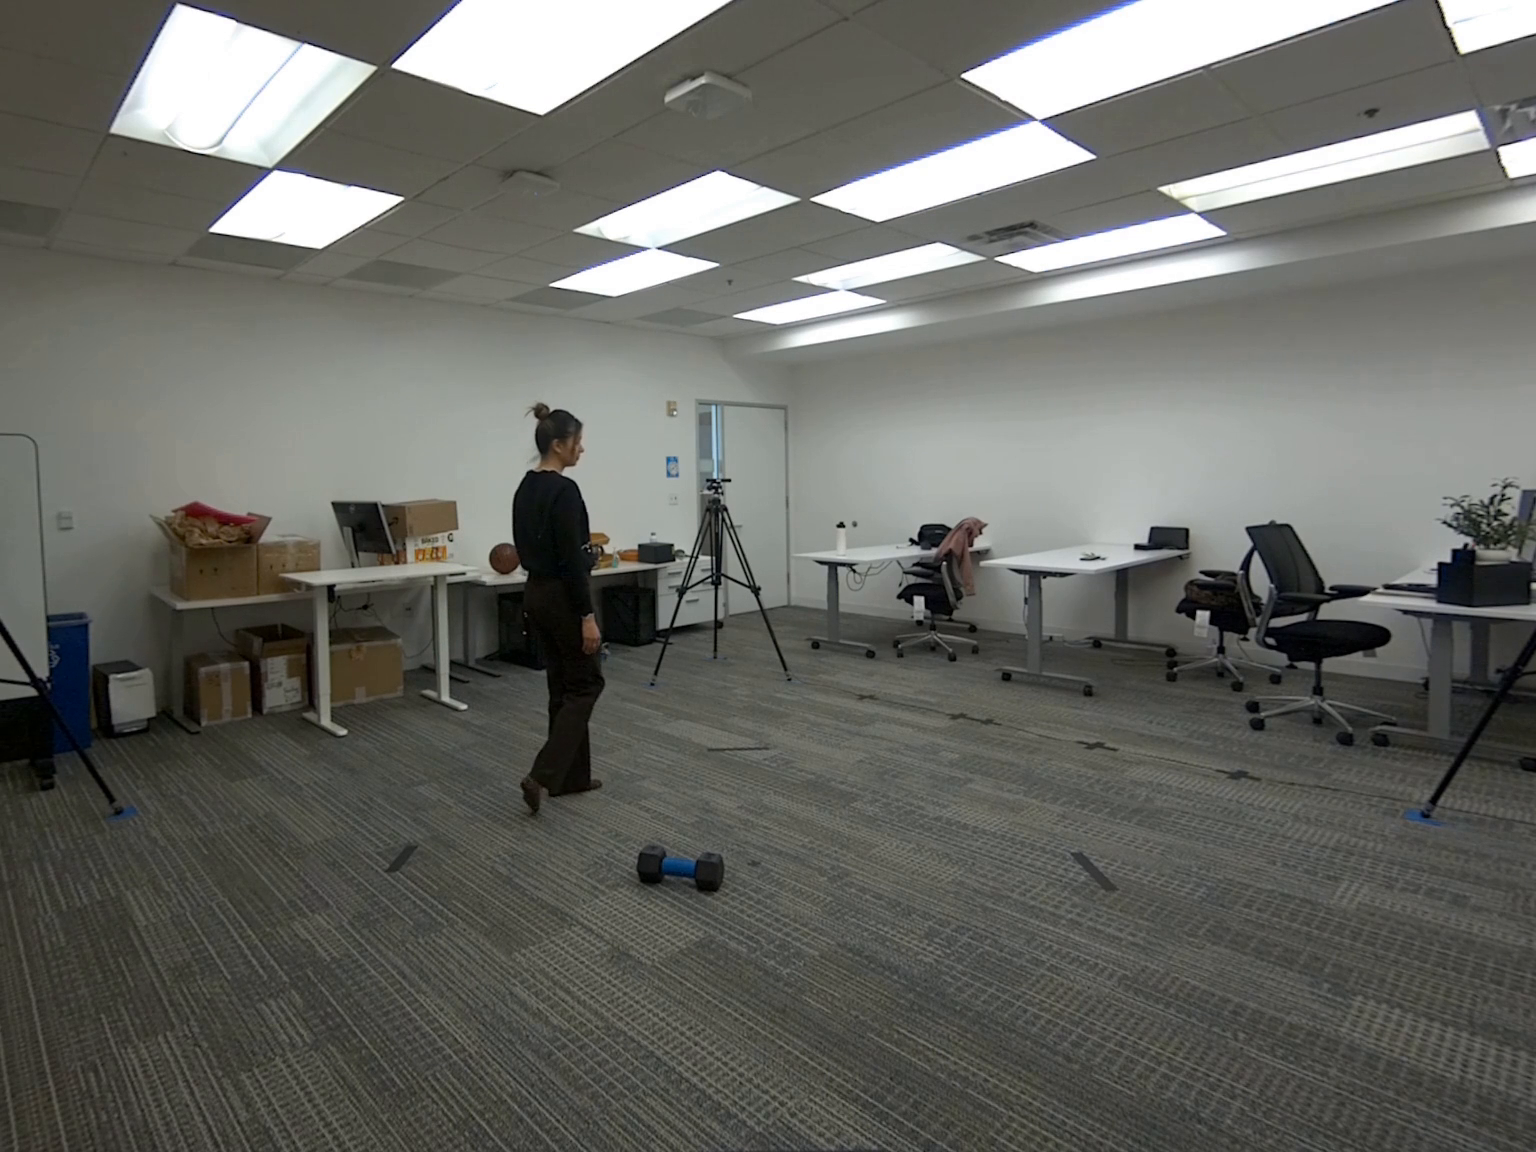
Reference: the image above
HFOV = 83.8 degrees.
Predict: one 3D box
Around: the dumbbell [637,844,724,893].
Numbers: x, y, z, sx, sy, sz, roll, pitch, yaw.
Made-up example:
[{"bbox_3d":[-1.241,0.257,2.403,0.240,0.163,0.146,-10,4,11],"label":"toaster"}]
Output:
[{"bbox_3d":[-0.300,1.011,2.958,0.298,0.125,0.105,1,-25,17],"label":"dumbbell"}]
